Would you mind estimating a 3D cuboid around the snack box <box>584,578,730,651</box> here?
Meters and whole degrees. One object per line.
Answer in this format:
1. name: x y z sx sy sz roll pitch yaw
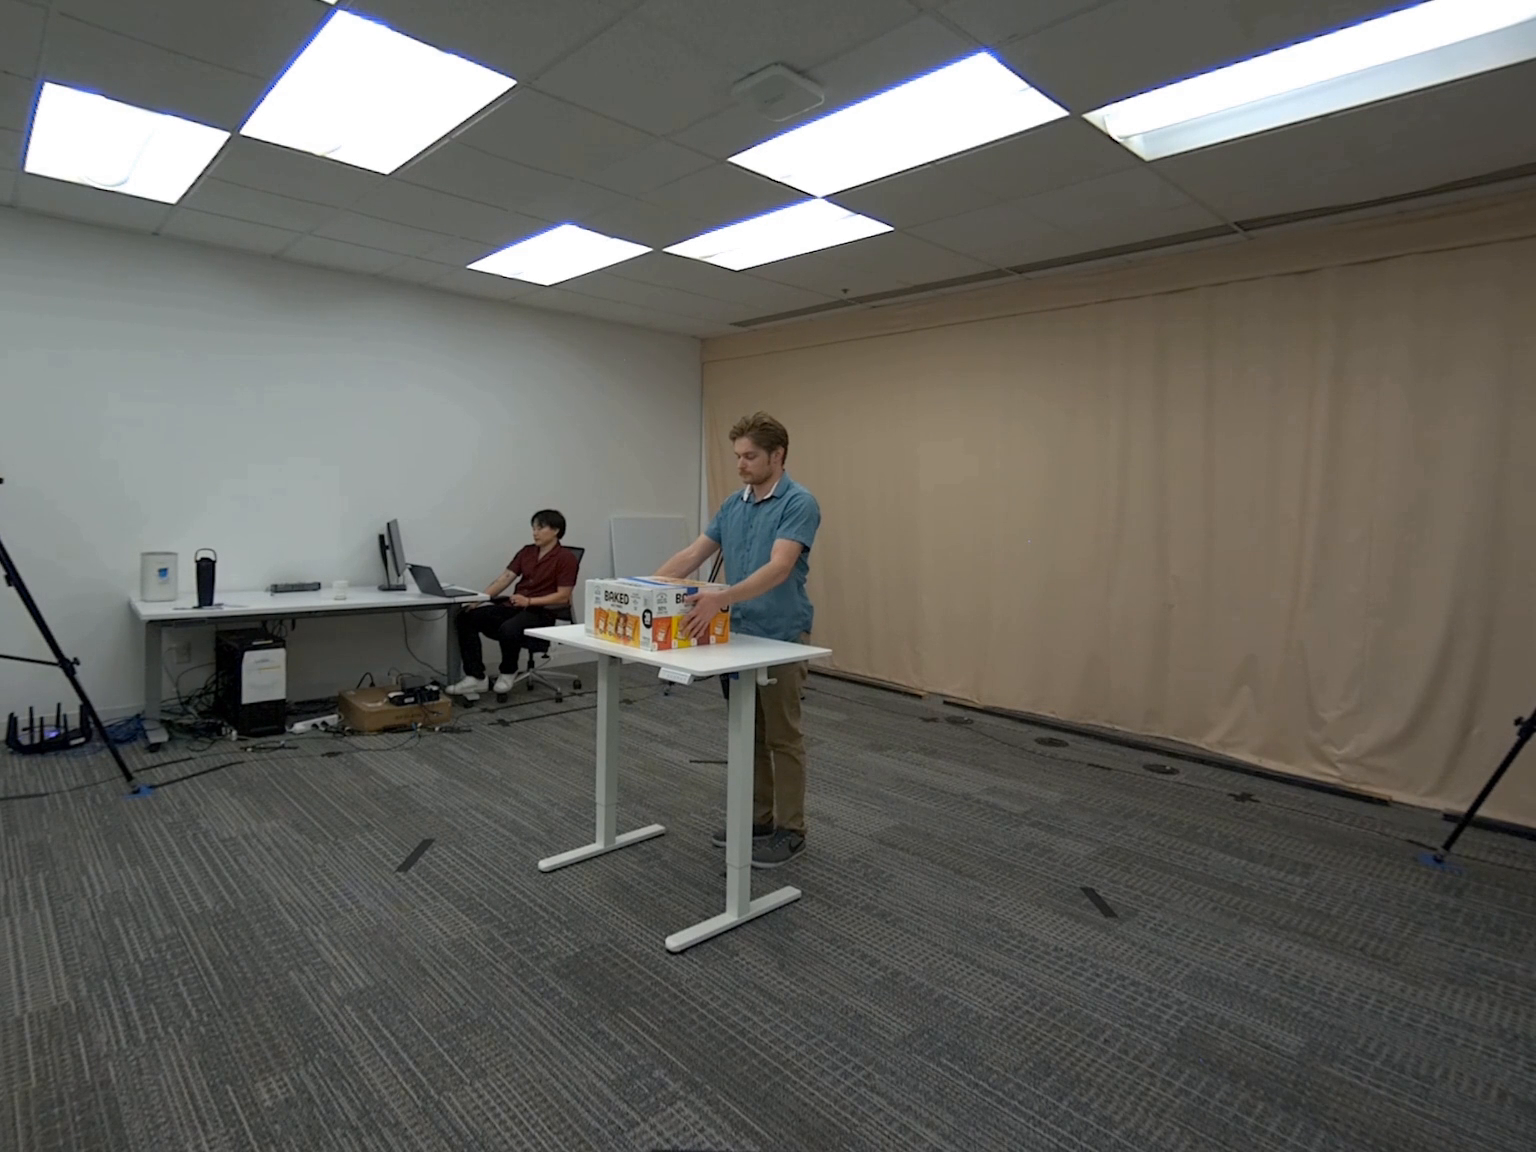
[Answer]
1. snack box: -0.403 0.125 2.991 0.332 0.205 0.415 -2 6 -43
